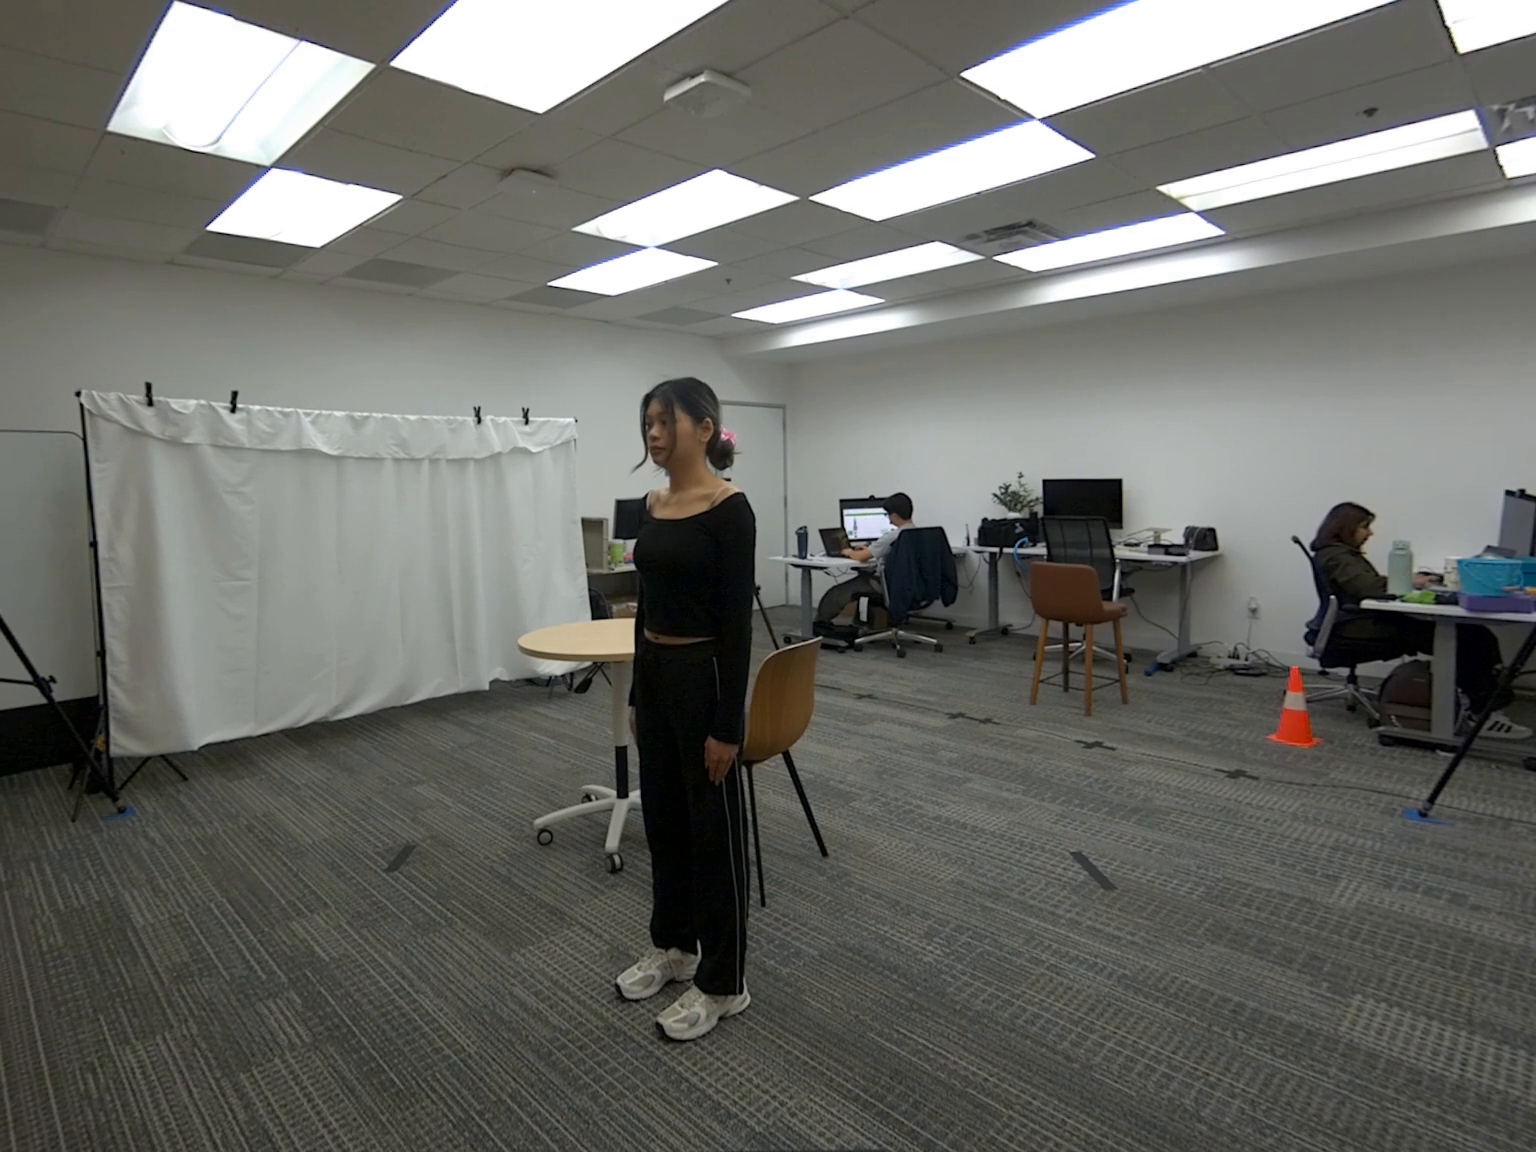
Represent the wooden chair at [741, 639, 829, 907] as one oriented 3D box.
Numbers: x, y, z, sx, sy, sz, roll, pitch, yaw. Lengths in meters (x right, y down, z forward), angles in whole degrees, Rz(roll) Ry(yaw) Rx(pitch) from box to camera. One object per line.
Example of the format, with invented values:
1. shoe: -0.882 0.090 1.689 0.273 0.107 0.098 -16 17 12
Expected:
1. wooden chair: -0.100 0.619 3.064 0.539 0.872 0.467 8 9 34
